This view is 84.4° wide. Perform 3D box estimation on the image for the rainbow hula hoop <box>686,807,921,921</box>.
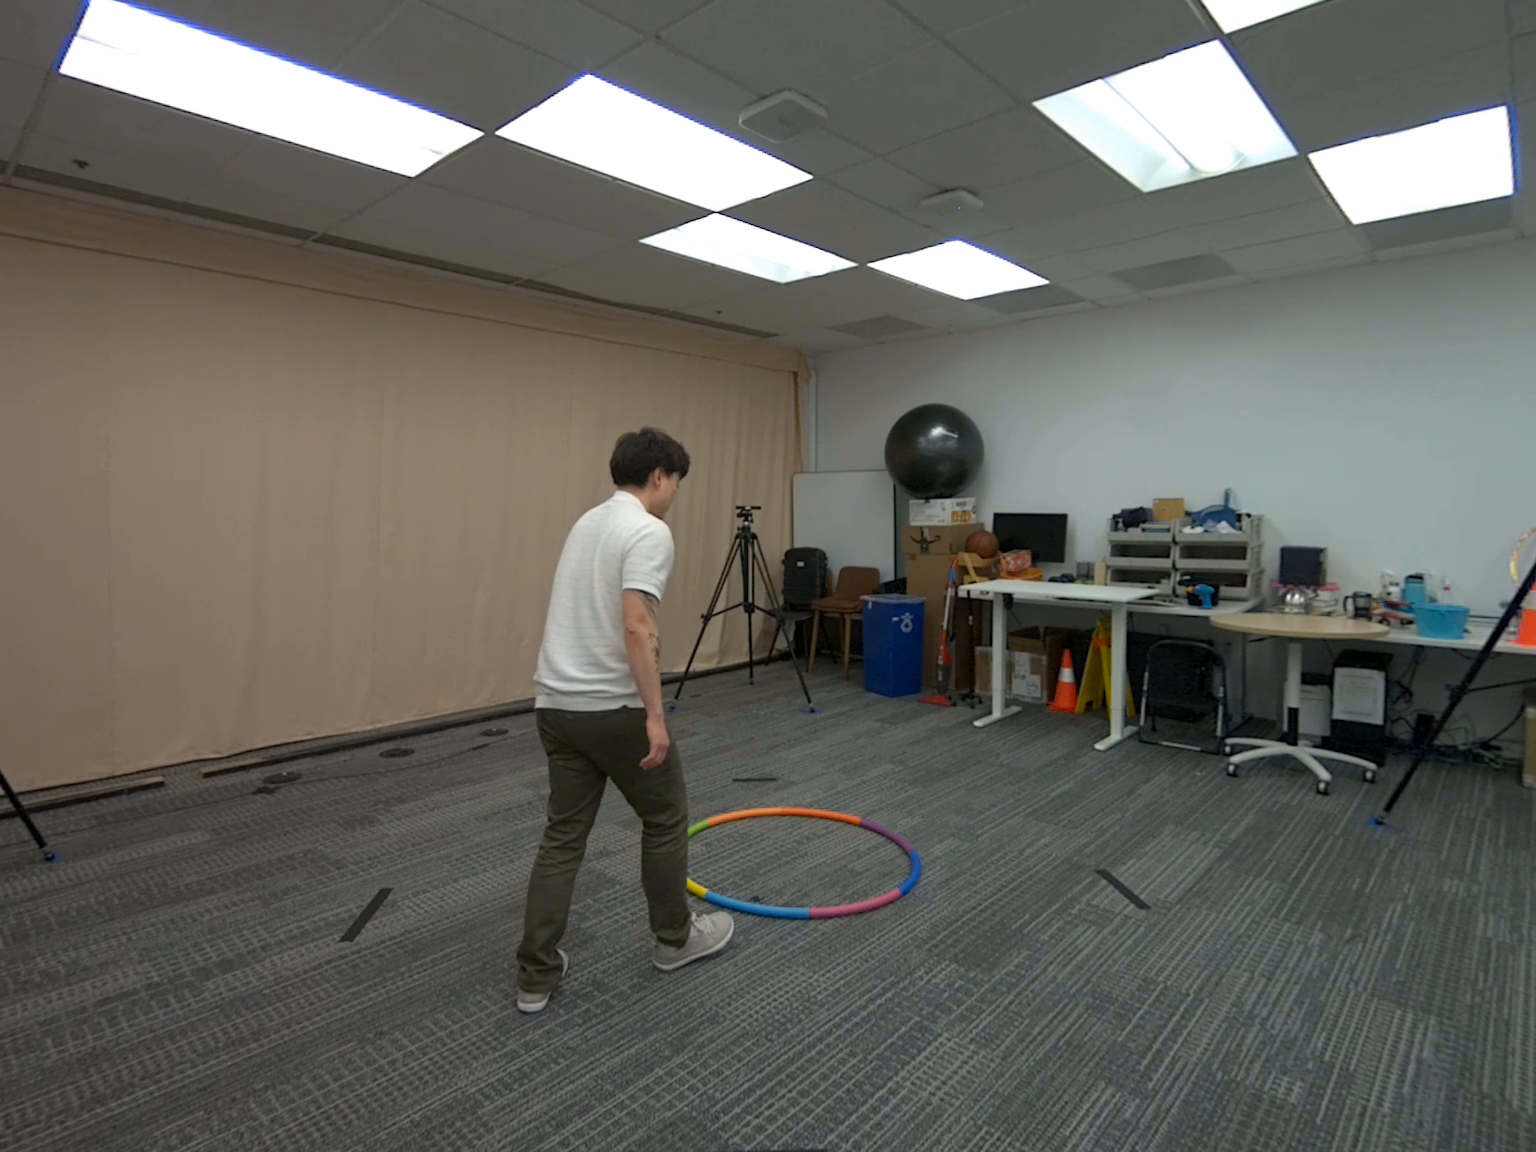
[{"bbox_3d":[0.097,1.086,3.313,0.978,0.035,0.982,0,5,-2],"label":"rainbow hula hoop"}]
